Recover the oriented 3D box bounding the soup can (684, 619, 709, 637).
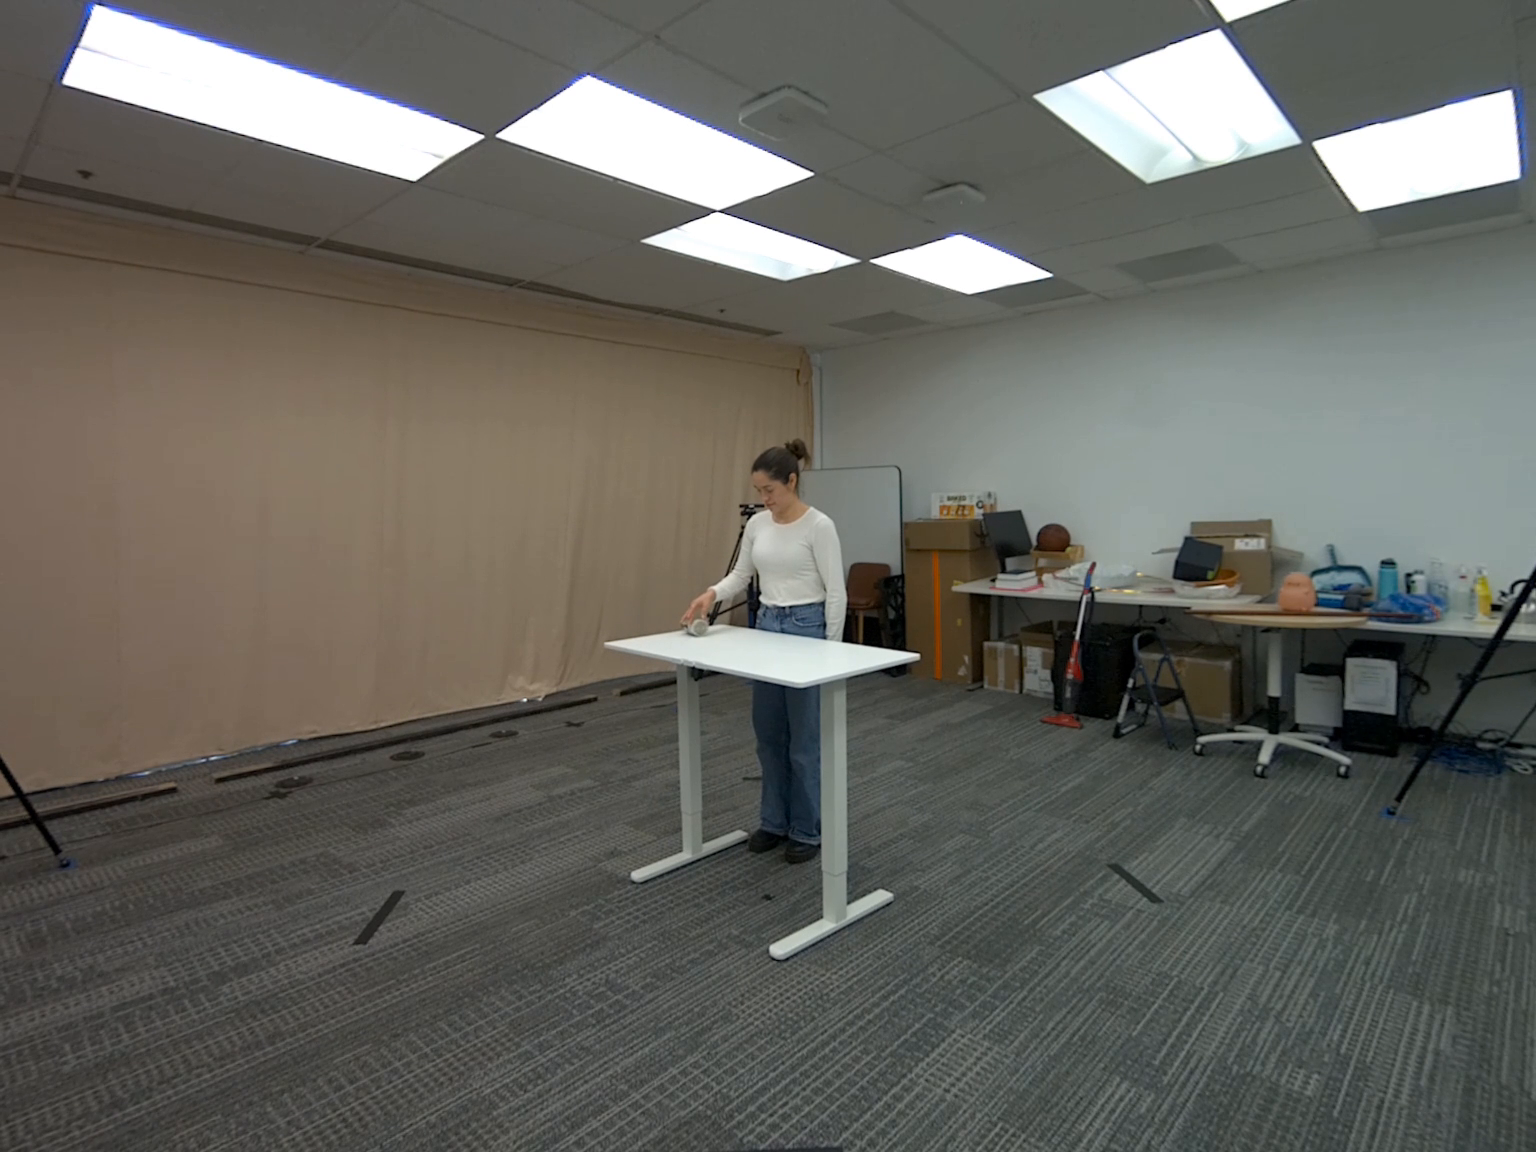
[{"bbox_3d":[-0.282,0.200,3.317,0.066,0.067,0.124,-2,5,-17],"label":"soup can"}]
